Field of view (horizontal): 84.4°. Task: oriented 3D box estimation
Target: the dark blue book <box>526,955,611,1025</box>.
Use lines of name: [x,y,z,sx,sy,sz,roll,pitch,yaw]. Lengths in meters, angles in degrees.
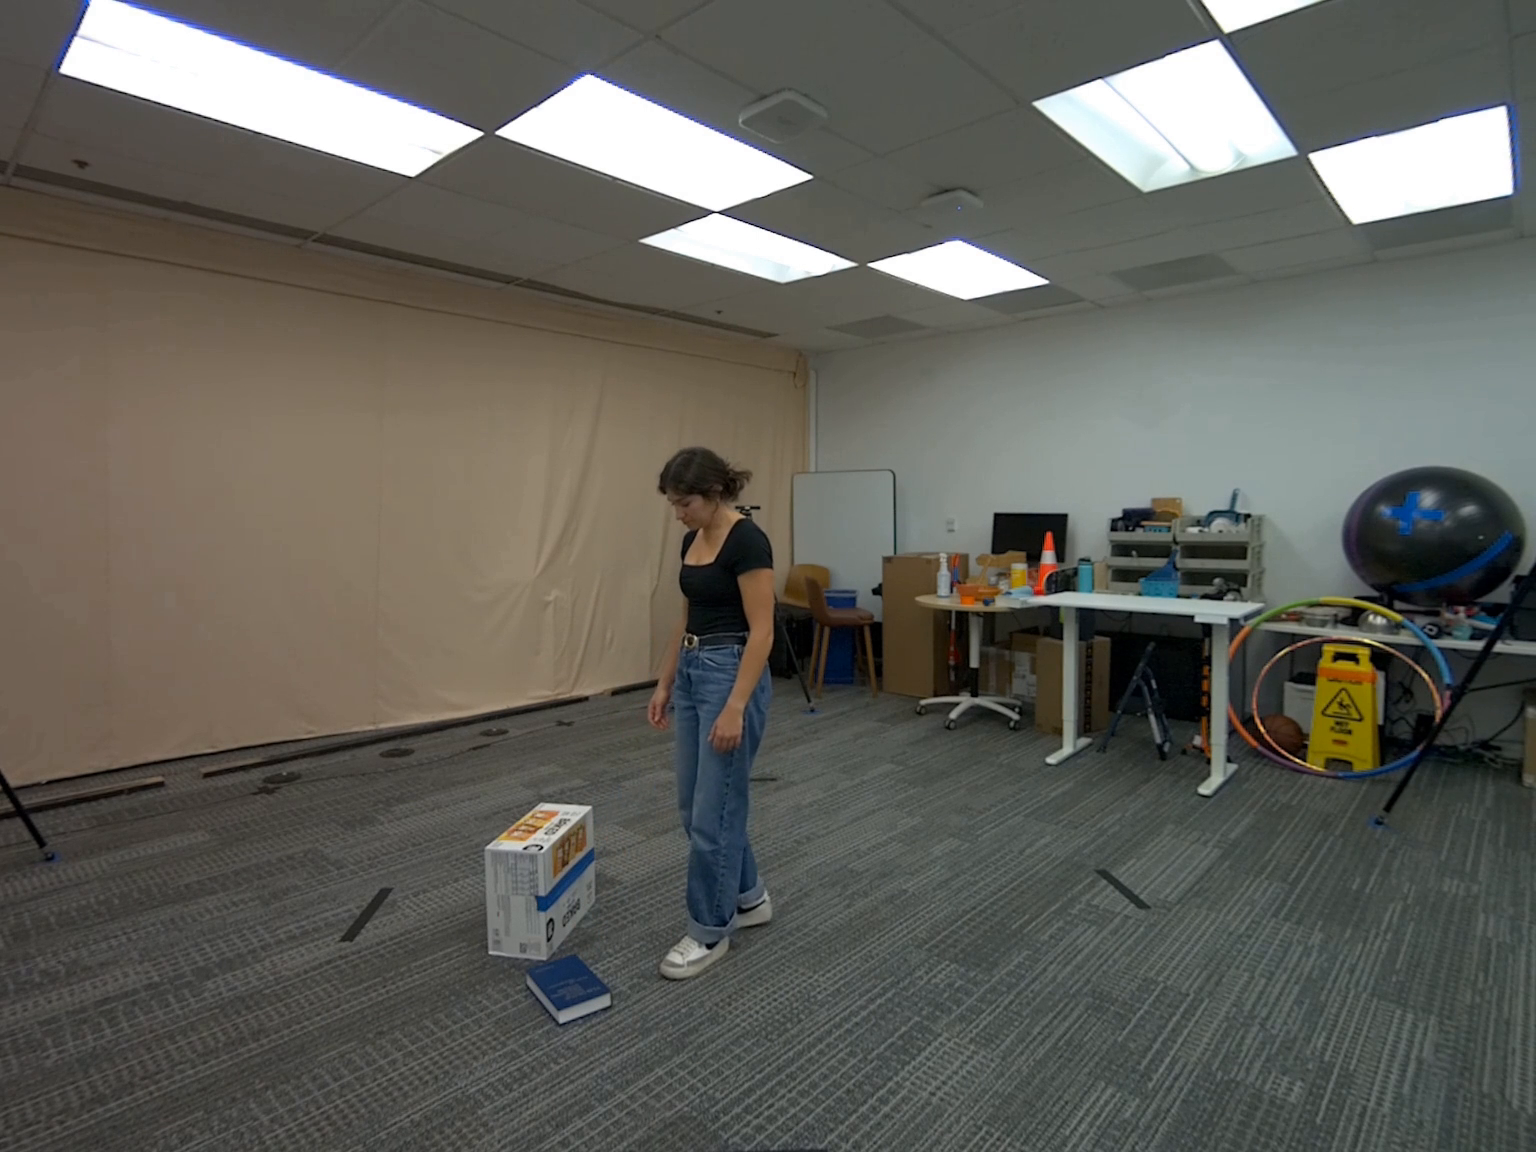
dark blue book: [-0.571,1.179,2.390,0.159,0.045,0.253,-4,5,-36]
